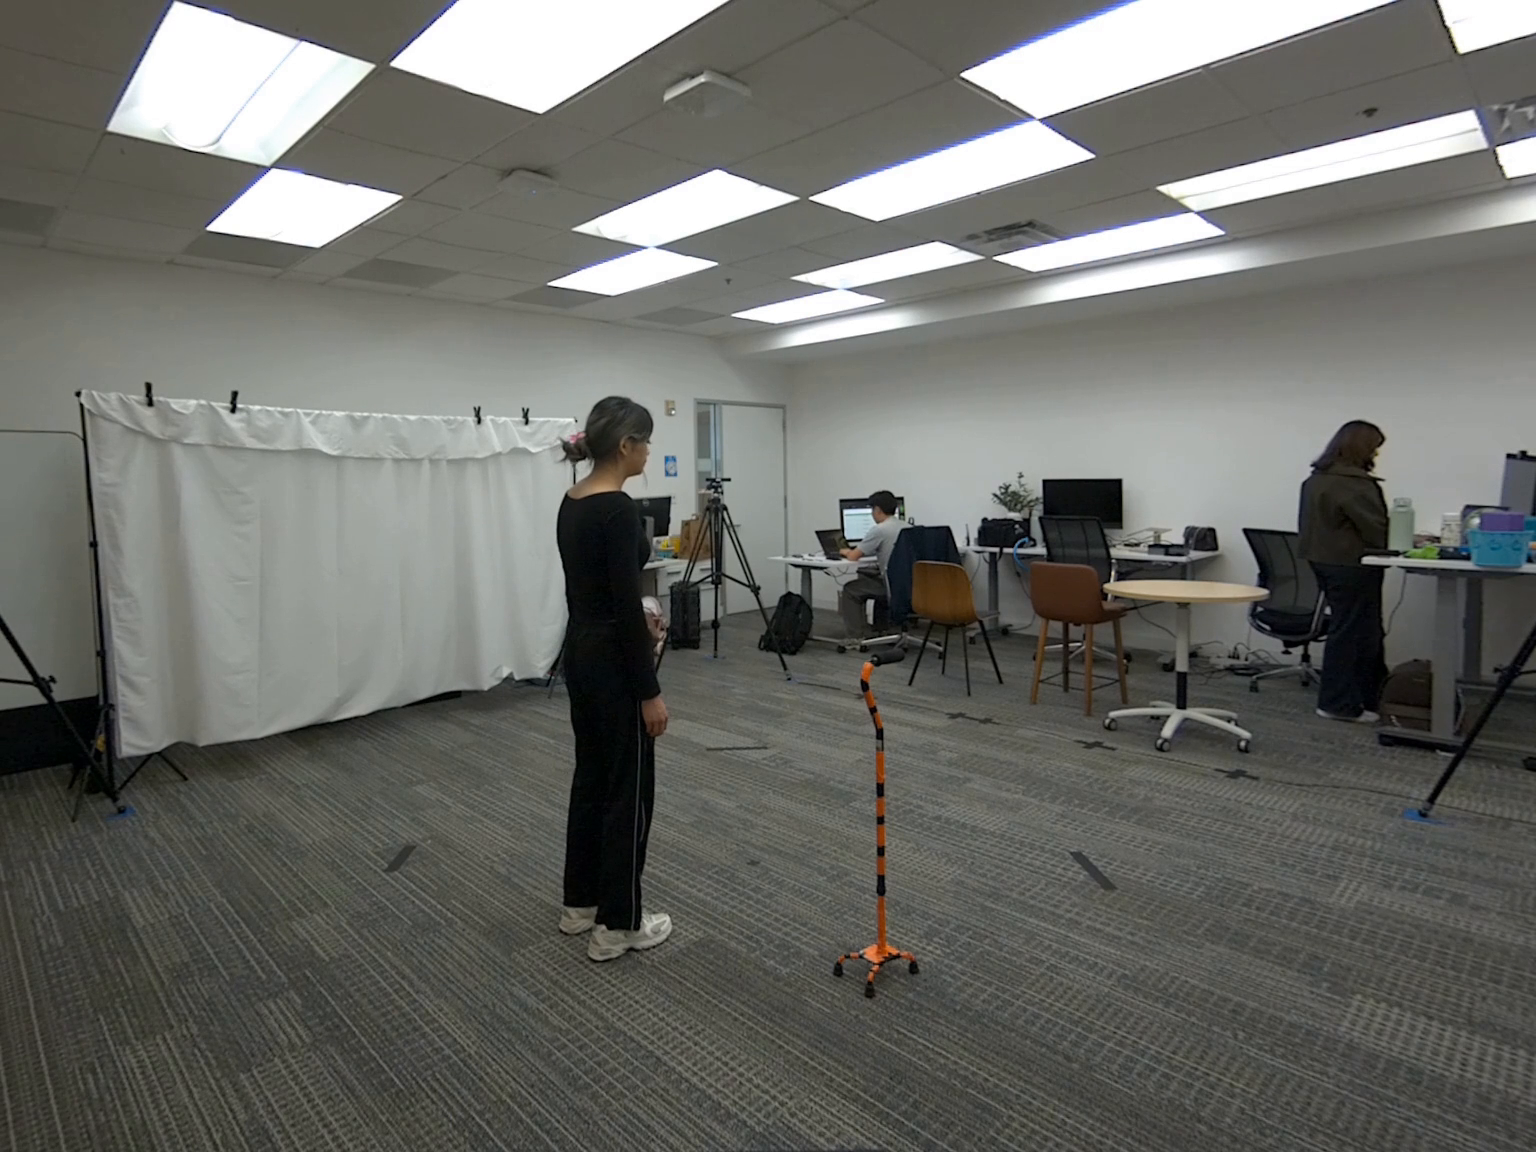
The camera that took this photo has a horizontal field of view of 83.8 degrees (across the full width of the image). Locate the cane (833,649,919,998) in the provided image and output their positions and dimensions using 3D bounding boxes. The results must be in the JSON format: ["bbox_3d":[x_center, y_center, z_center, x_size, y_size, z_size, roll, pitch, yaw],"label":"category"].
[{"bbox_3d":[0.297,0.661,2.382,0.201,0.904,0.156,-4,5,-37],"label":"cane"}]
